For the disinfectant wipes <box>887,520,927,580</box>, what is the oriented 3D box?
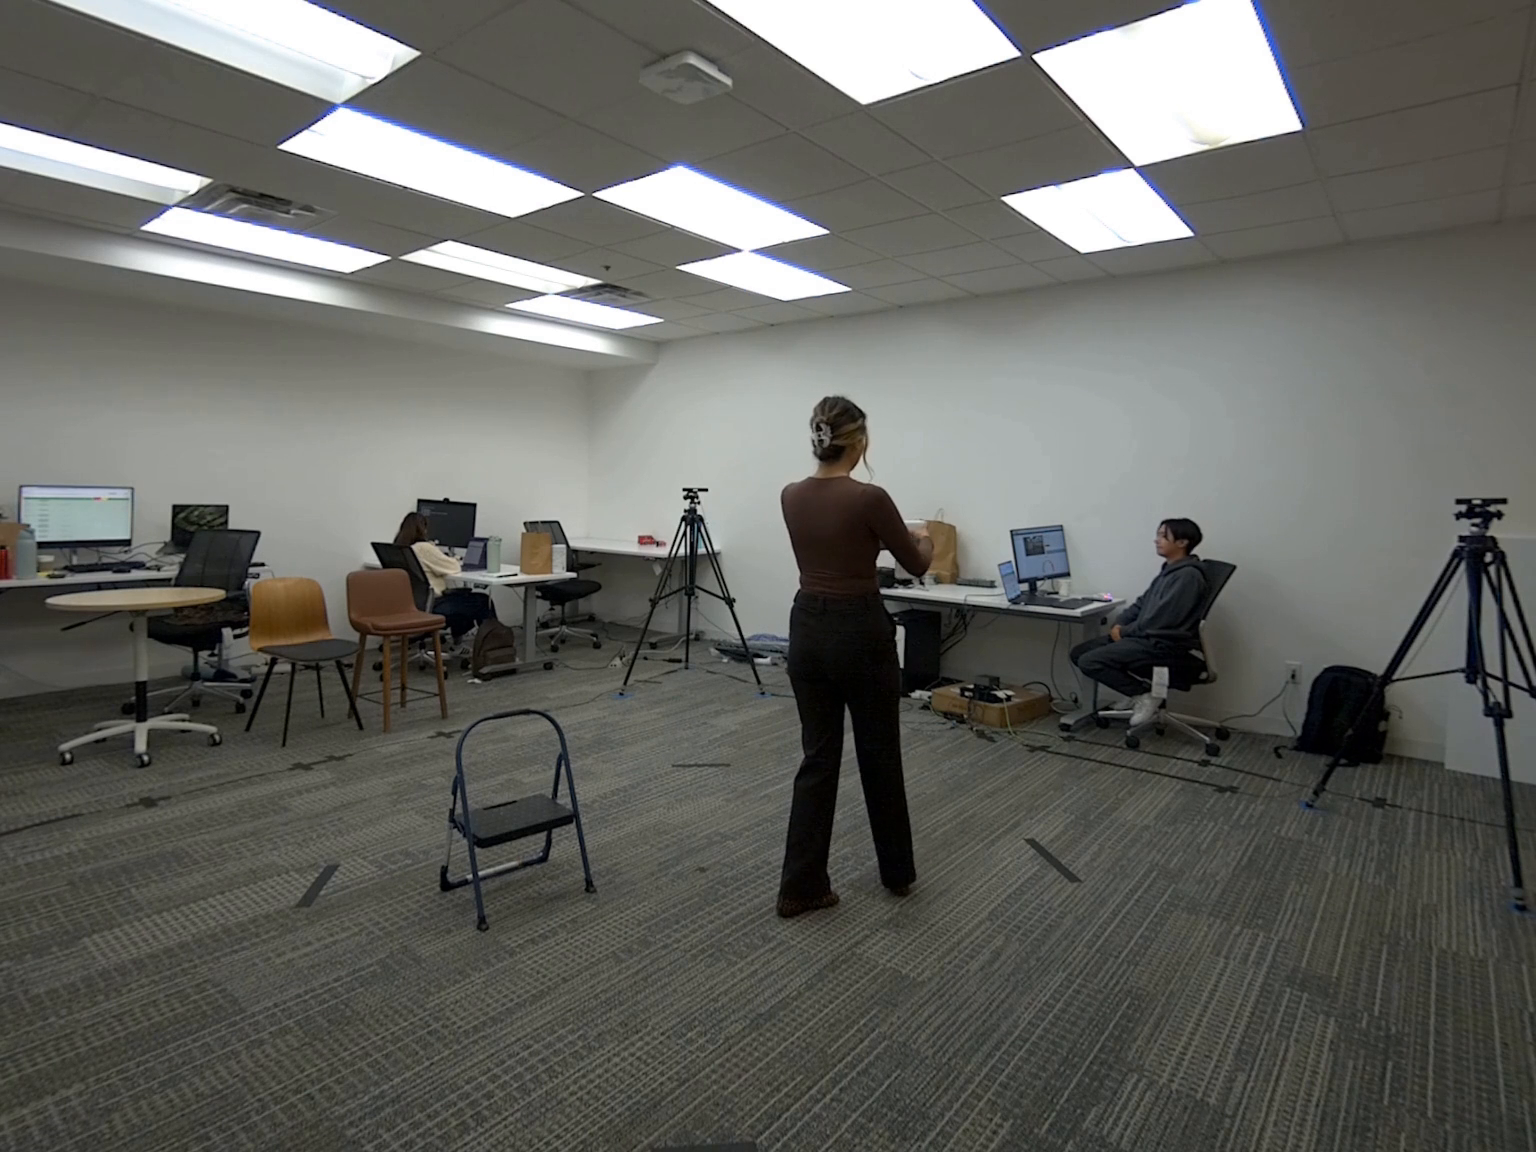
[{"bbox_3d":[0.519,-0.101,3.157,0.118,0.217,0.118,0,2,-2],"label":"disinfectant wipes"}]
